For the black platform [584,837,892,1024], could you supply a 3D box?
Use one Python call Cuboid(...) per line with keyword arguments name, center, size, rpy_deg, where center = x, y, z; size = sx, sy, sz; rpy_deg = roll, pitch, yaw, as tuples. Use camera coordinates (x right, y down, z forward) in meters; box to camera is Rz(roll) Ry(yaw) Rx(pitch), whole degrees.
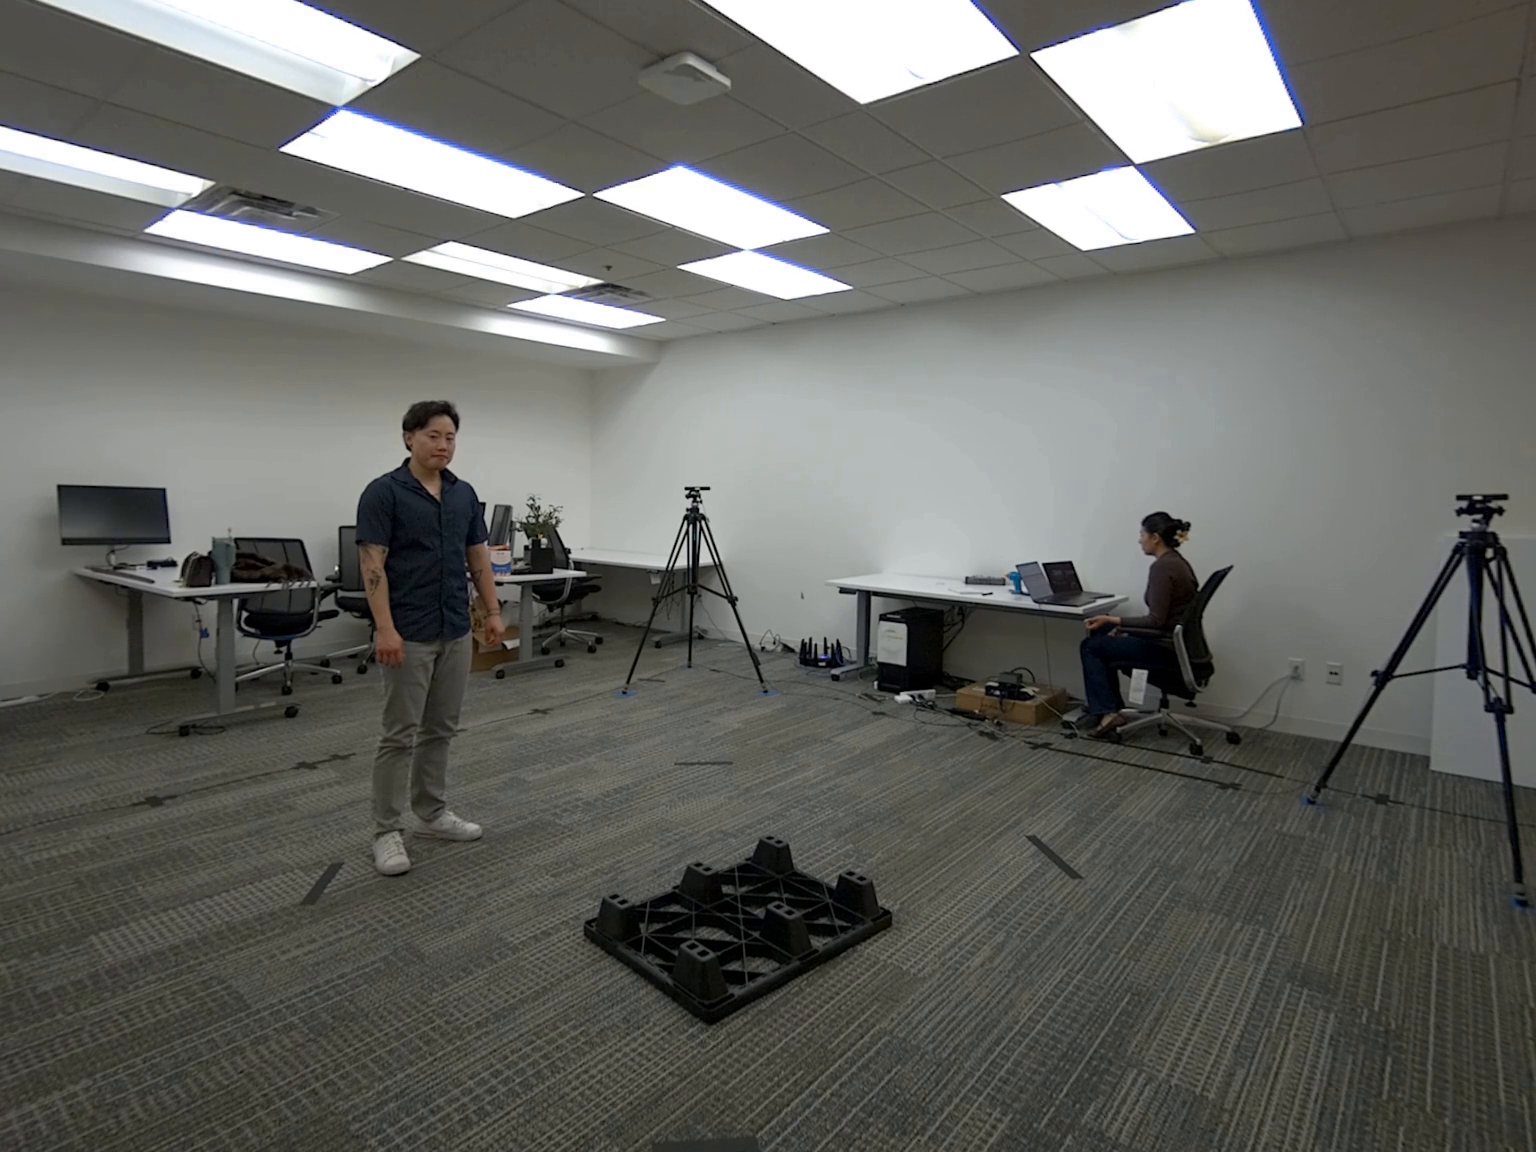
Cuboid(name="black platform", center=(-0.092, 1.045, 2.670), size=(0.781, 0.143, 0.626), rpy_deg=(-5, 8, -44))
